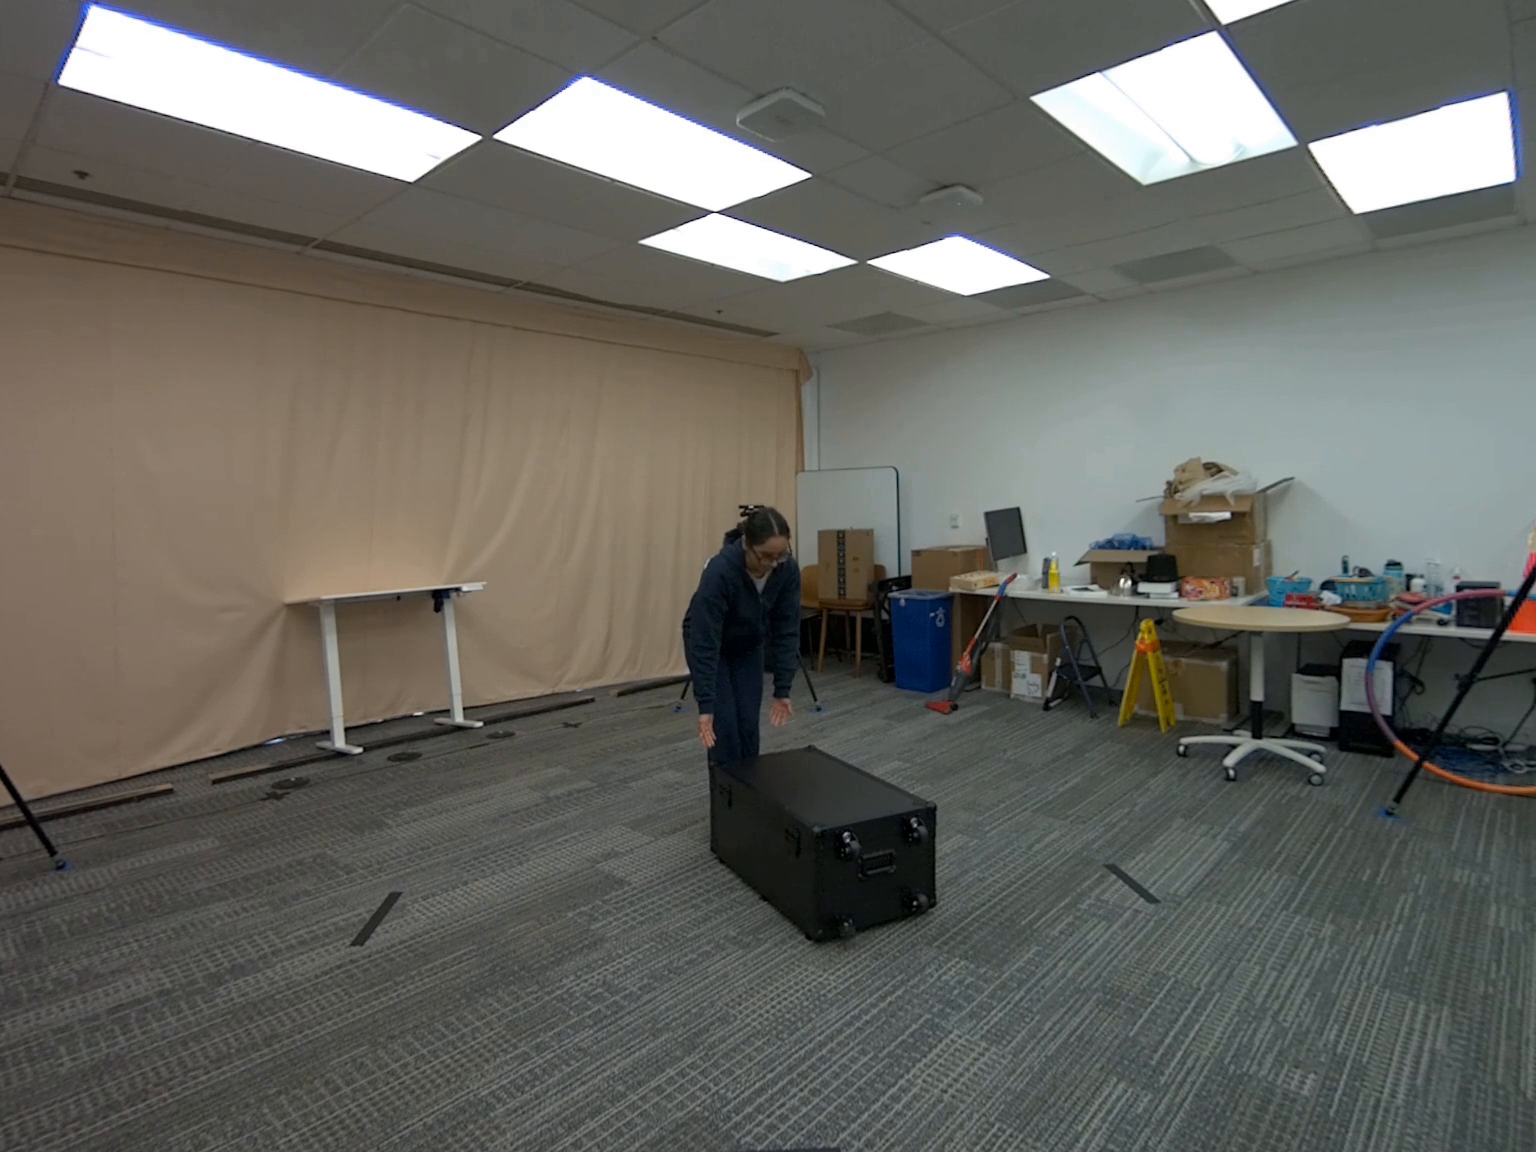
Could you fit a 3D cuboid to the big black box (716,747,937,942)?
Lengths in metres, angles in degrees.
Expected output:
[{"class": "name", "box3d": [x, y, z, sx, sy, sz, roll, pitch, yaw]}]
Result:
[{"class": "big black box", "box3d": [0.217, 0.953, 3.053, 0.386, 0.520, 0.885, -3, 4, -28]}]
